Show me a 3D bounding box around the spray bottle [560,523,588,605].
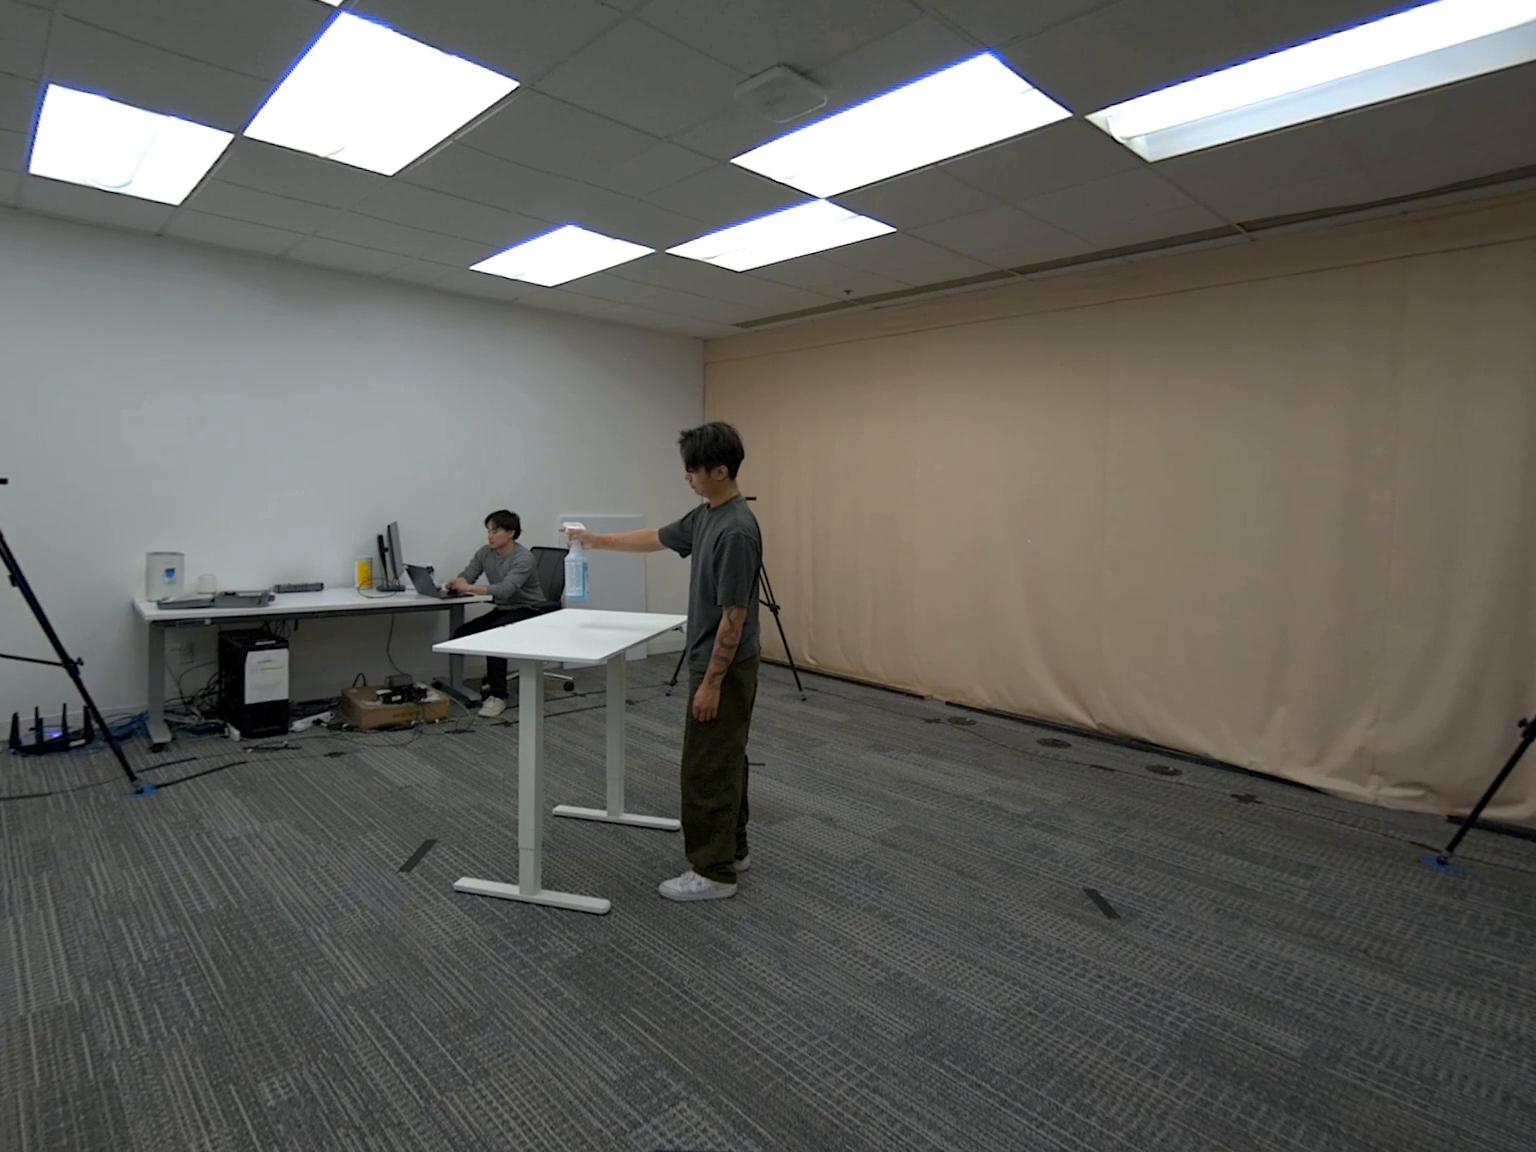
[{"bbox_3d":[-0.747,-0.057,3.254,0.092,0.297,0.085,0,3,38],"label":"spray bottle"}]
